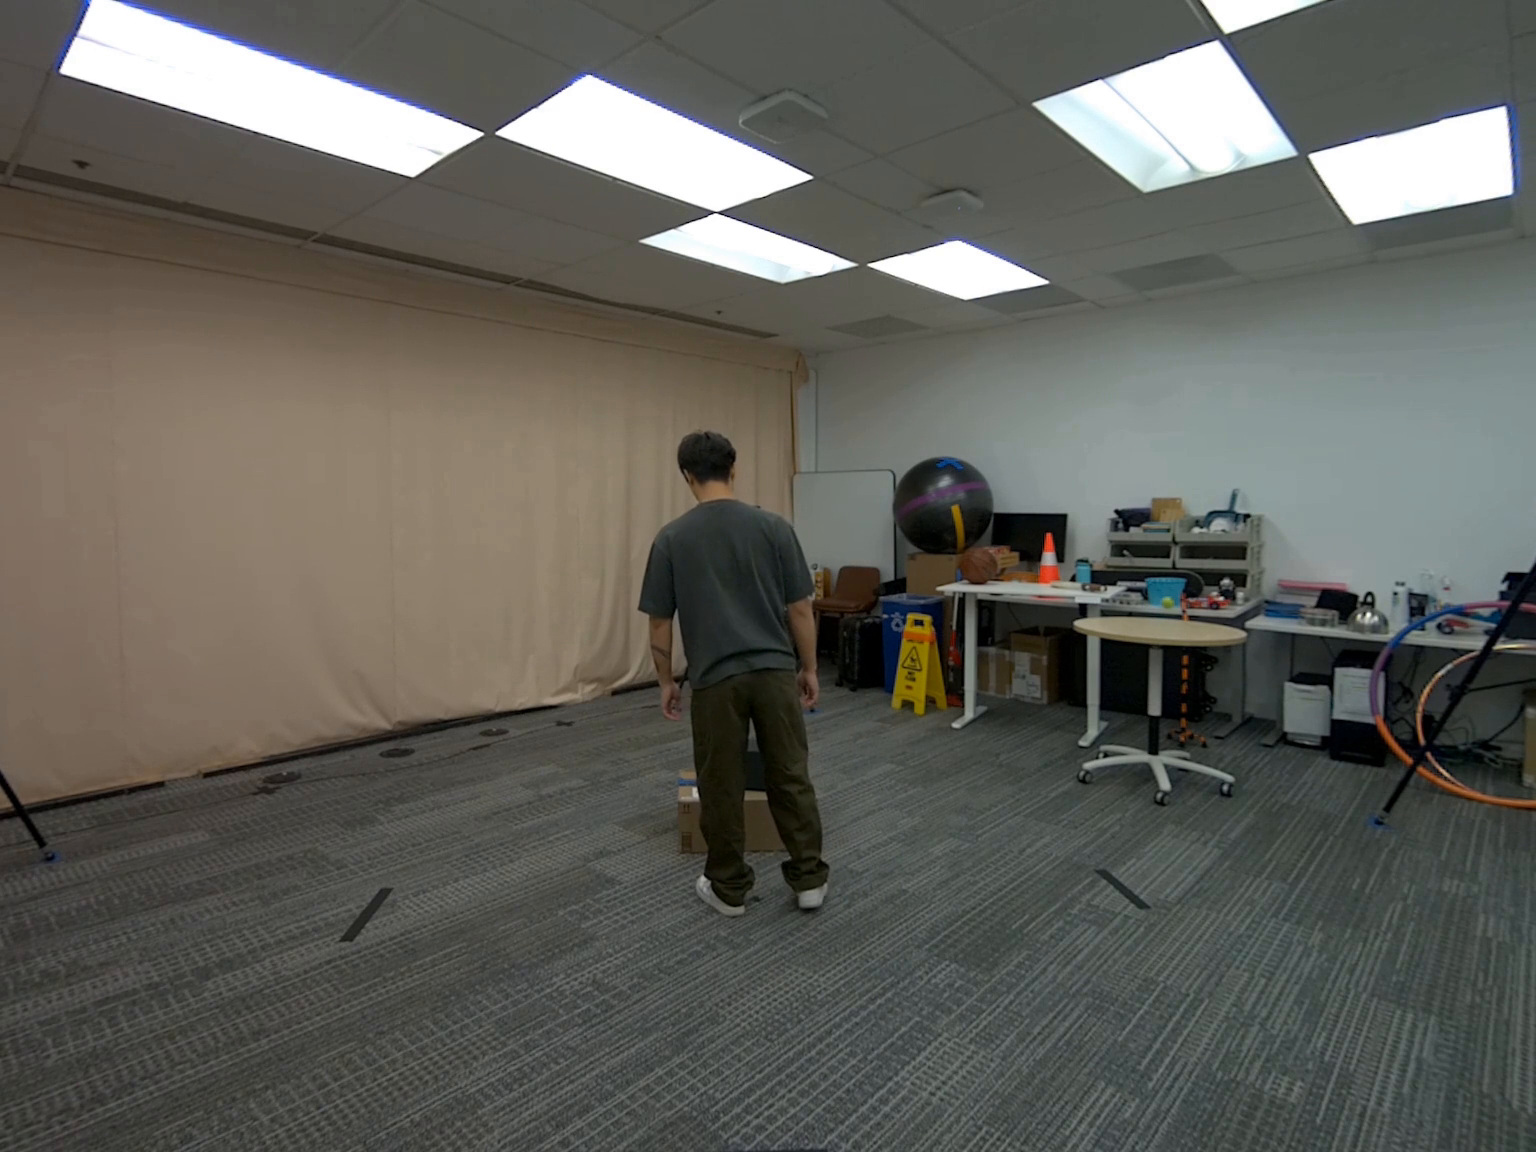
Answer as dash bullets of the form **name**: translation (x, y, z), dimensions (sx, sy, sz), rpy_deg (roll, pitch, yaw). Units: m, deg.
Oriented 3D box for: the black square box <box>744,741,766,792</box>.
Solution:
- **black square box**: translation (-0.074, 0.793, 3.581), dimensions (0.230, 0.156, 0.215), rpy_deg (0, 1, 9)
